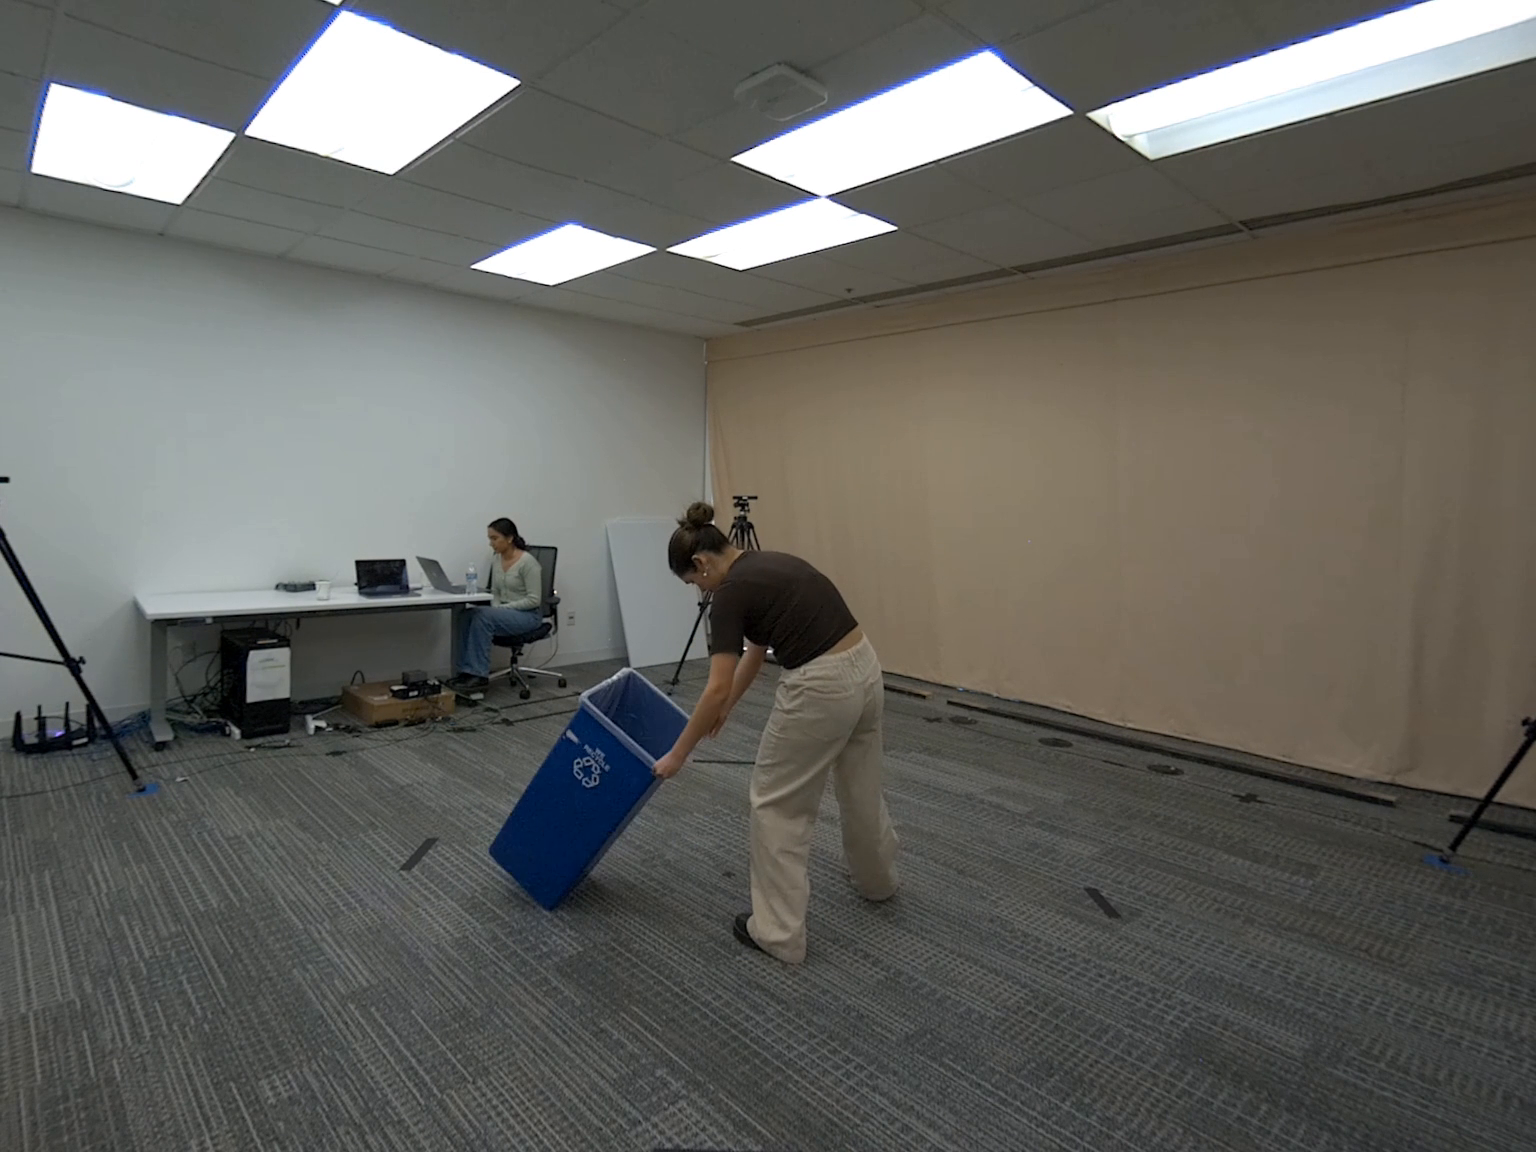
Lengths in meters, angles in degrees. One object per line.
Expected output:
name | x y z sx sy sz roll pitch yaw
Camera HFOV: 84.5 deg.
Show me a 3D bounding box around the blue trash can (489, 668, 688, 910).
blue trash can | -0.587 0.736 2.870 0.378 0.711 0.375 38 18 9
